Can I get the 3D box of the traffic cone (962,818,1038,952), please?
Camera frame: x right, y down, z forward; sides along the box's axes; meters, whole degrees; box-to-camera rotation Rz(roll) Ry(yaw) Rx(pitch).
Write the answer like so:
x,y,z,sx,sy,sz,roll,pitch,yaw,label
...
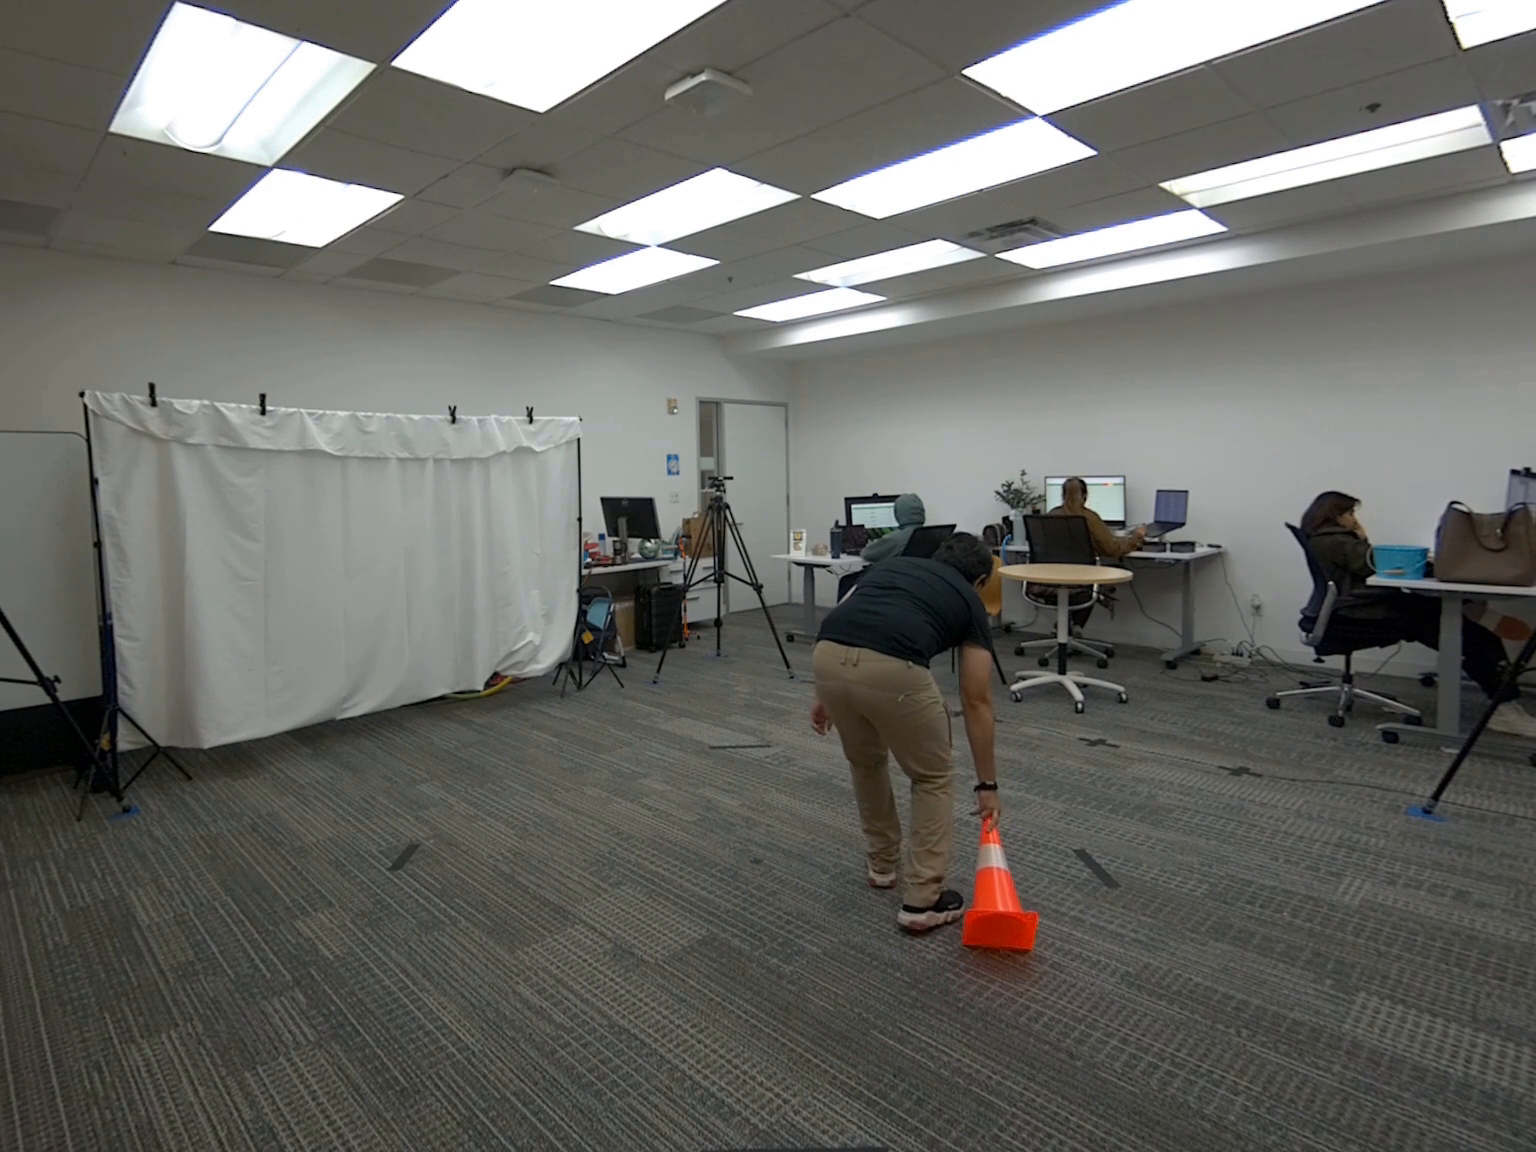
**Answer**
x,y,z,sx,sy,sz,roll,pitch,yaw,label
0.695,0.898,2.594,0.205,0.199,0.391,-3,38,11,traffic cone
